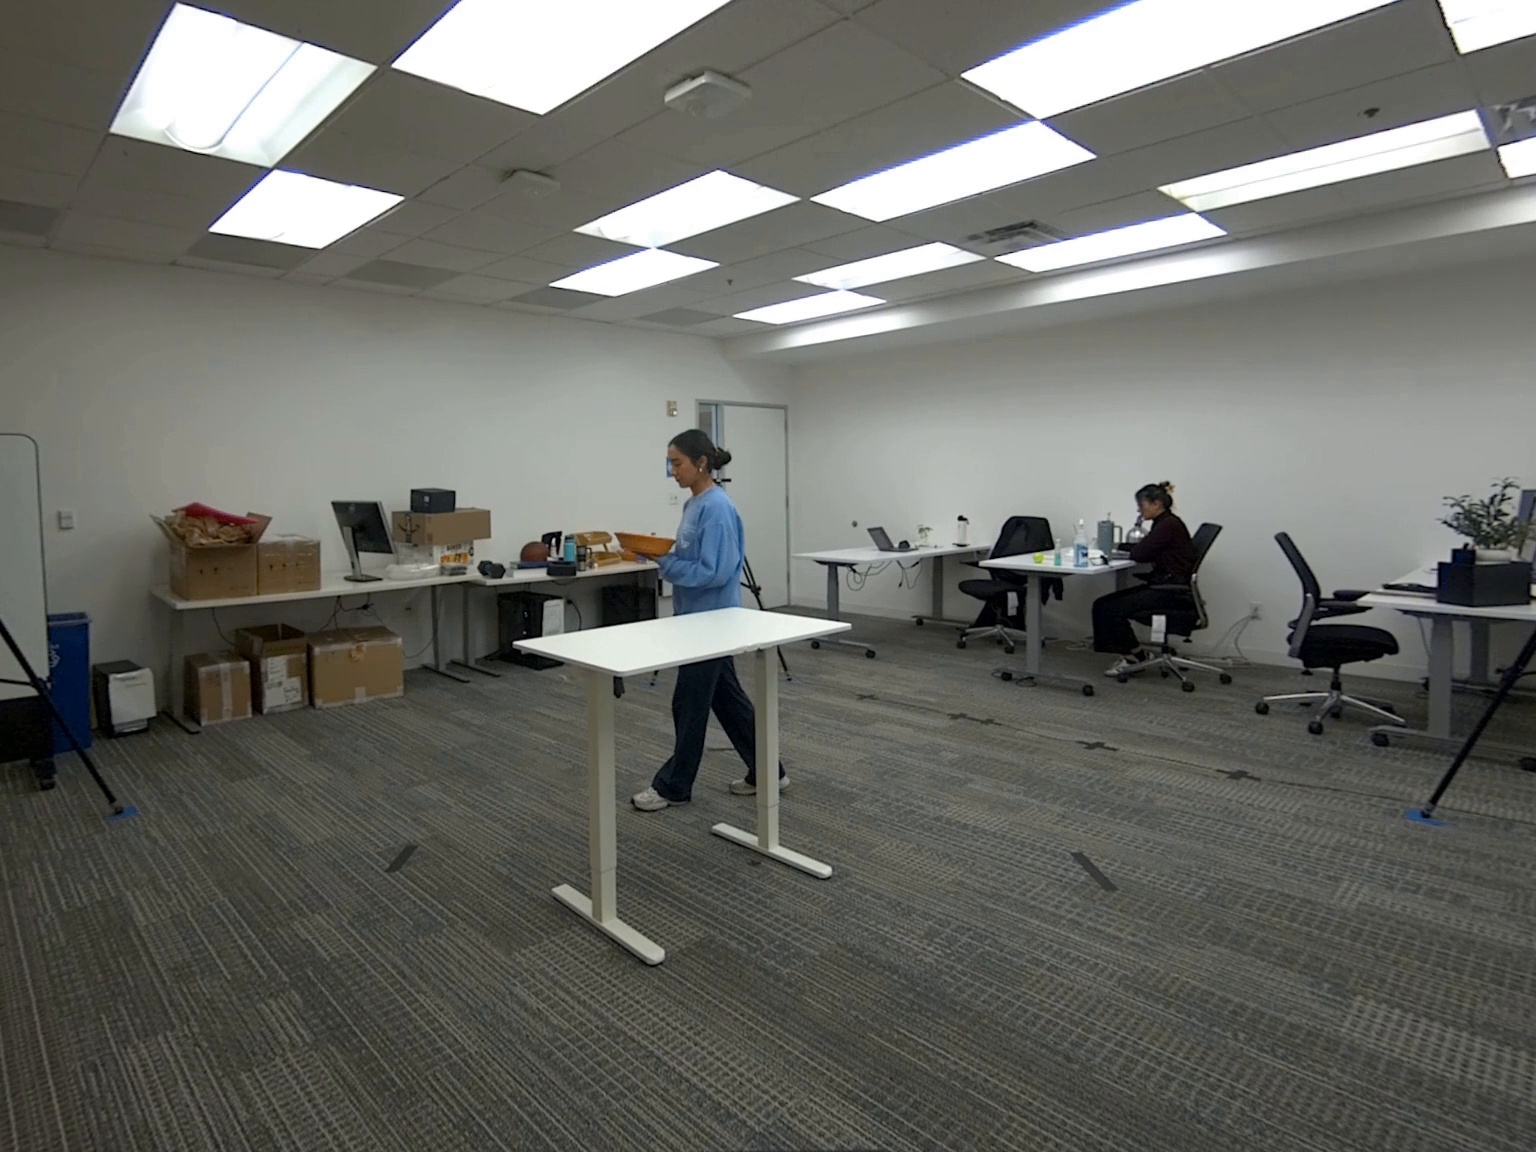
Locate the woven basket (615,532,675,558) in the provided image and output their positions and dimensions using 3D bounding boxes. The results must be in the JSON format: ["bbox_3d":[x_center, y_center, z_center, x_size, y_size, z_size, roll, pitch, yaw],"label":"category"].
[{"bbox_3d":[-0.511,-0.138,3.665,0.248,0.073,0.357,5,2,-18],"label":"woven basket"}]
